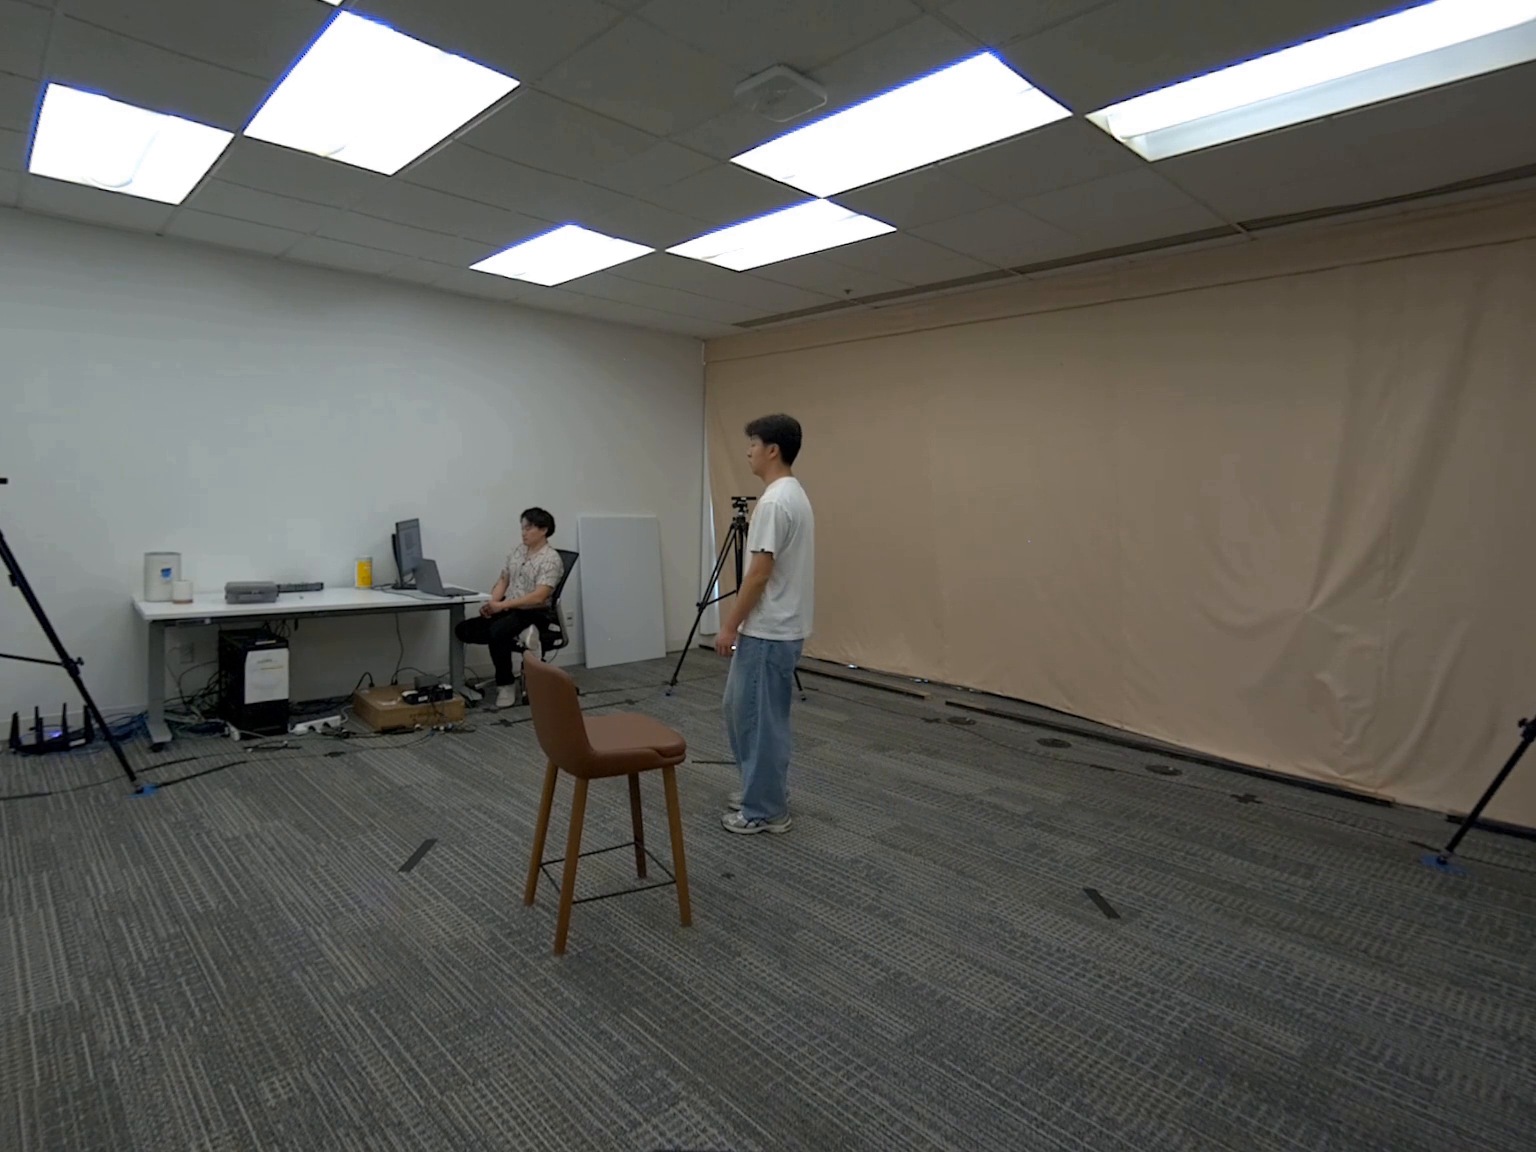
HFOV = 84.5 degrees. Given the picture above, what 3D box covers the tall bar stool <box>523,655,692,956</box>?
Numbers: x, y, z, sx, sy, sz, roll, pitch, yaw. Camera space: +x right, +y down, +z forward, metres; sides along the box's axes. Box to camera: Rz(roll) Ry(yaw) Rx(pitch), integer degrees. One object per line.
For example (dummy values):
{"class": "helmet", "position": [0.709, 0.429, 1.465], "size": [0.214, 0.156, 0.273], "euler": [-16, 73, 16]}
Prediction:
{"class": "tall bar stool", "position": [-0.542, 0.691, 2.776], "size": [0.458, 0.887, 0.467], "euler": [-3, 5, -30]}
